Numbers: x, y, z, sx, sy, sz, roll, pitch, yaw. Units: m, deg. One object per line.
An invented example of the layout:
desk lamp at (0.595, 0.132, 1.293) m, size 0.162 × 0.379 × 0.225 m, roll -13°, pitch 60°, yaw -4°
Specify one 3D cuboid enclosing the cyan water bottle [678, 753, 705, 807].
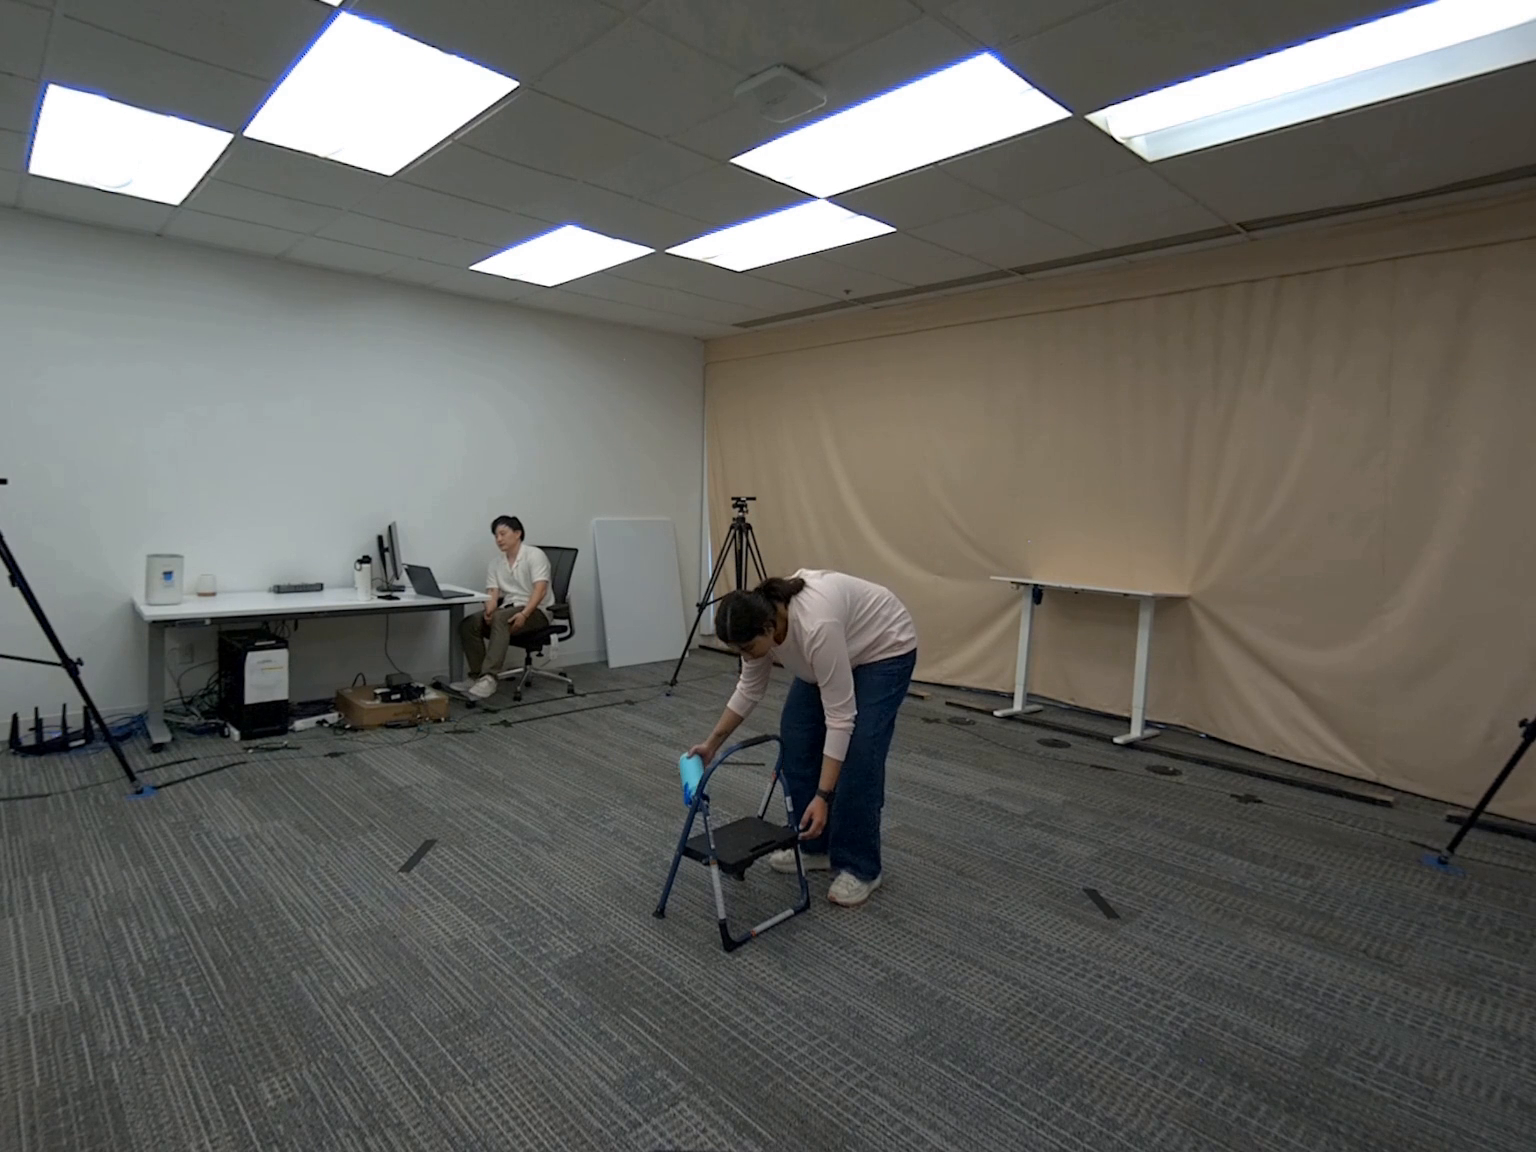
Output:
cyan water bottle at (-0.271, 0.733, 3.006) m, size 0.091 × 0.091 × 0.289 m, roll 0°, pitch 20°, yaw -10°
